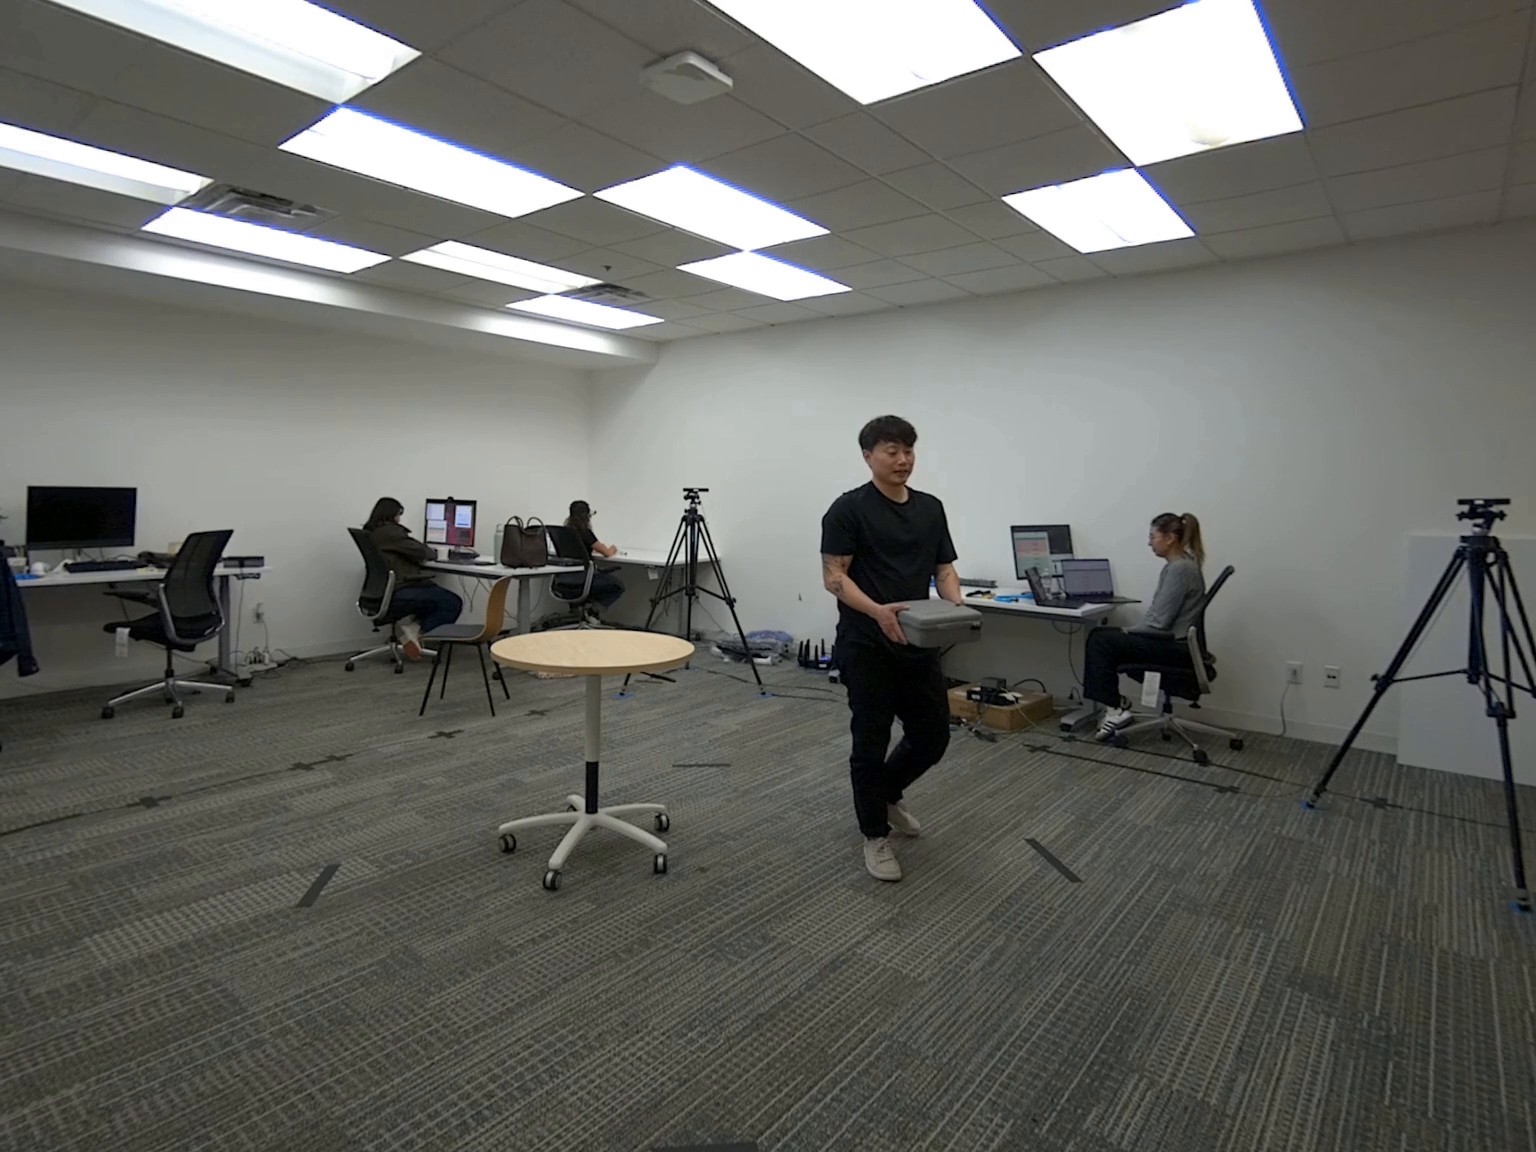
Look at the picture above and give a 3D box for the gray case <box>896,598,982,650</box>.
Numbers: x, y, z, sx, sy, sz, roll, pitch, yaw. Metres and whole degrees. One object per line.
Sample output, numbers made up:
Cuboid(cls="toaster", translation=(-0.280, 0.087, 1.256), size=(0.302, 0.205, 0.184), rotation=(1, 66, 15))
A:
Cuboid(cls="gray case", translation=(0.552, 0.153, 2.881), size=(0.252, 0.103, 0.268), rotation=(-6, 11, -21))
